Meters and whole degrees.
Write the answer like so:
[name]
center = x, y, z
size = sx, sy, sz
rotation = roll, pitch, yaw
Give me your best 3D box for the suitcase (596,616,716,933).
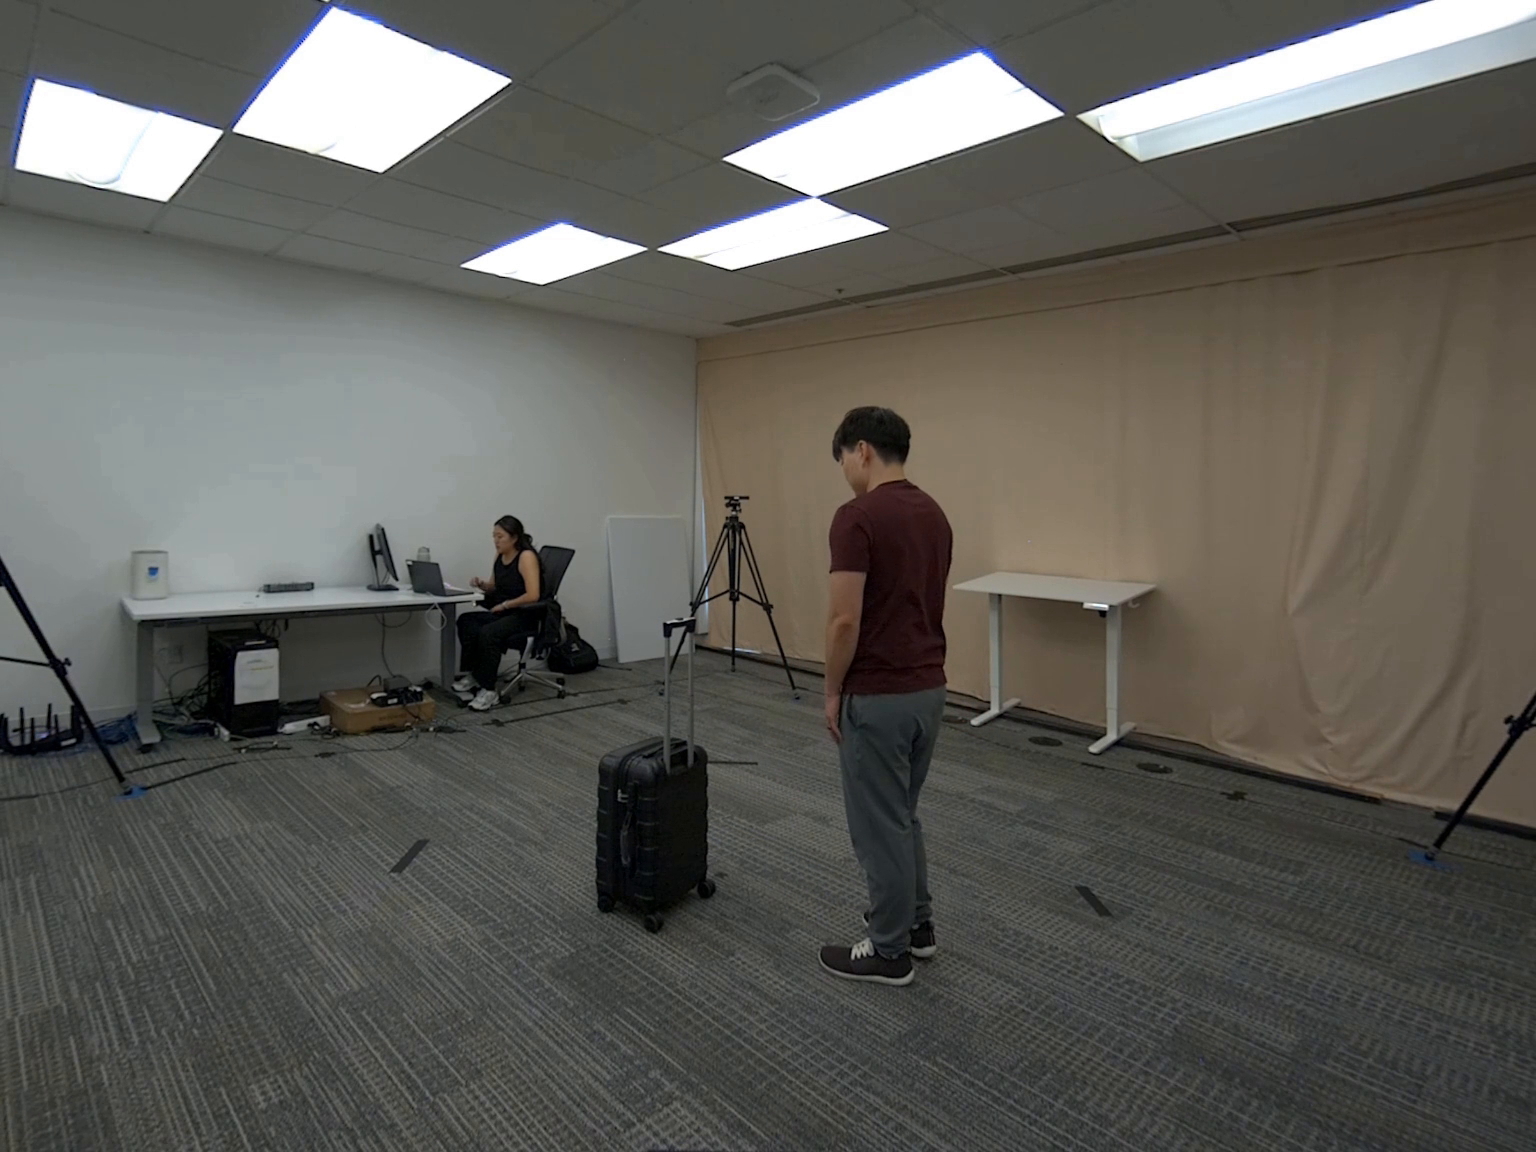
[suitcase]
center = -0.403, 0.646, 2.868
size = 0.263, 0.977, 0.376
rotation = 0, 3, 33
